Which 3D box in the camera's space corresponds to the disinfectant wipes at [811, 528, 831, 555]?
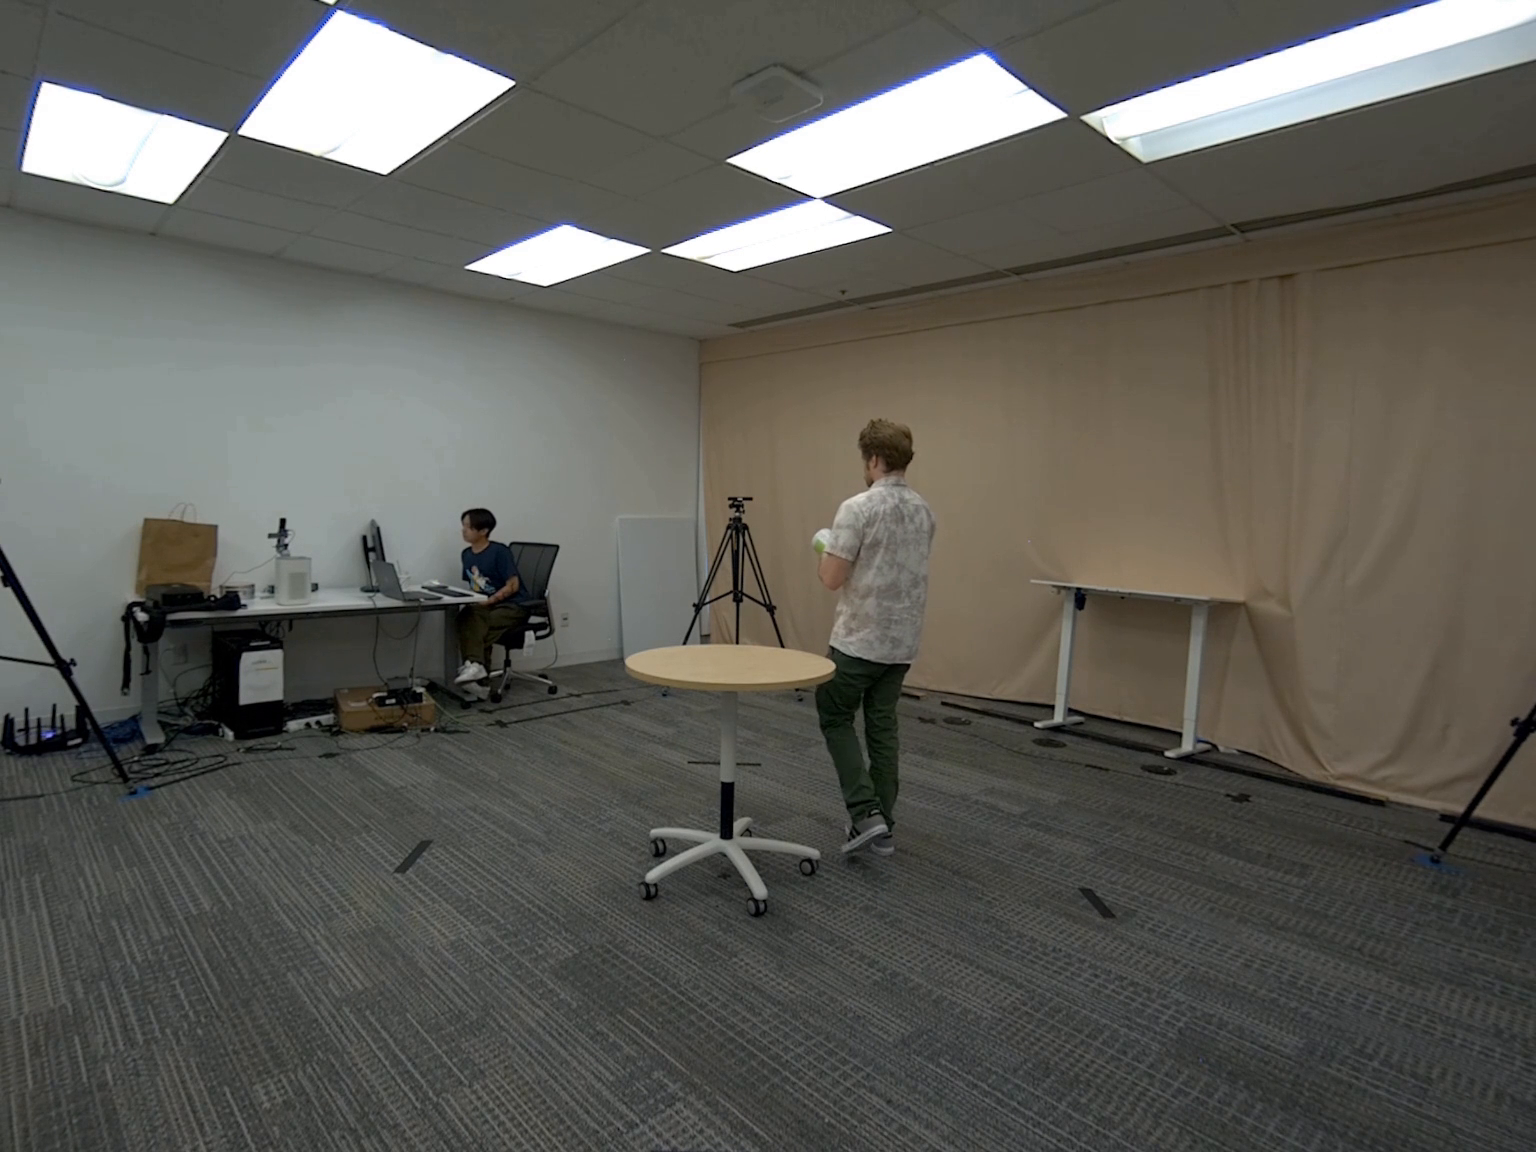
[{"bbox_3d":[0.294,-0.104,3.611,0.115,0.116,0.224,-2,35,-38],"label":"disinfectant wipes"}]
